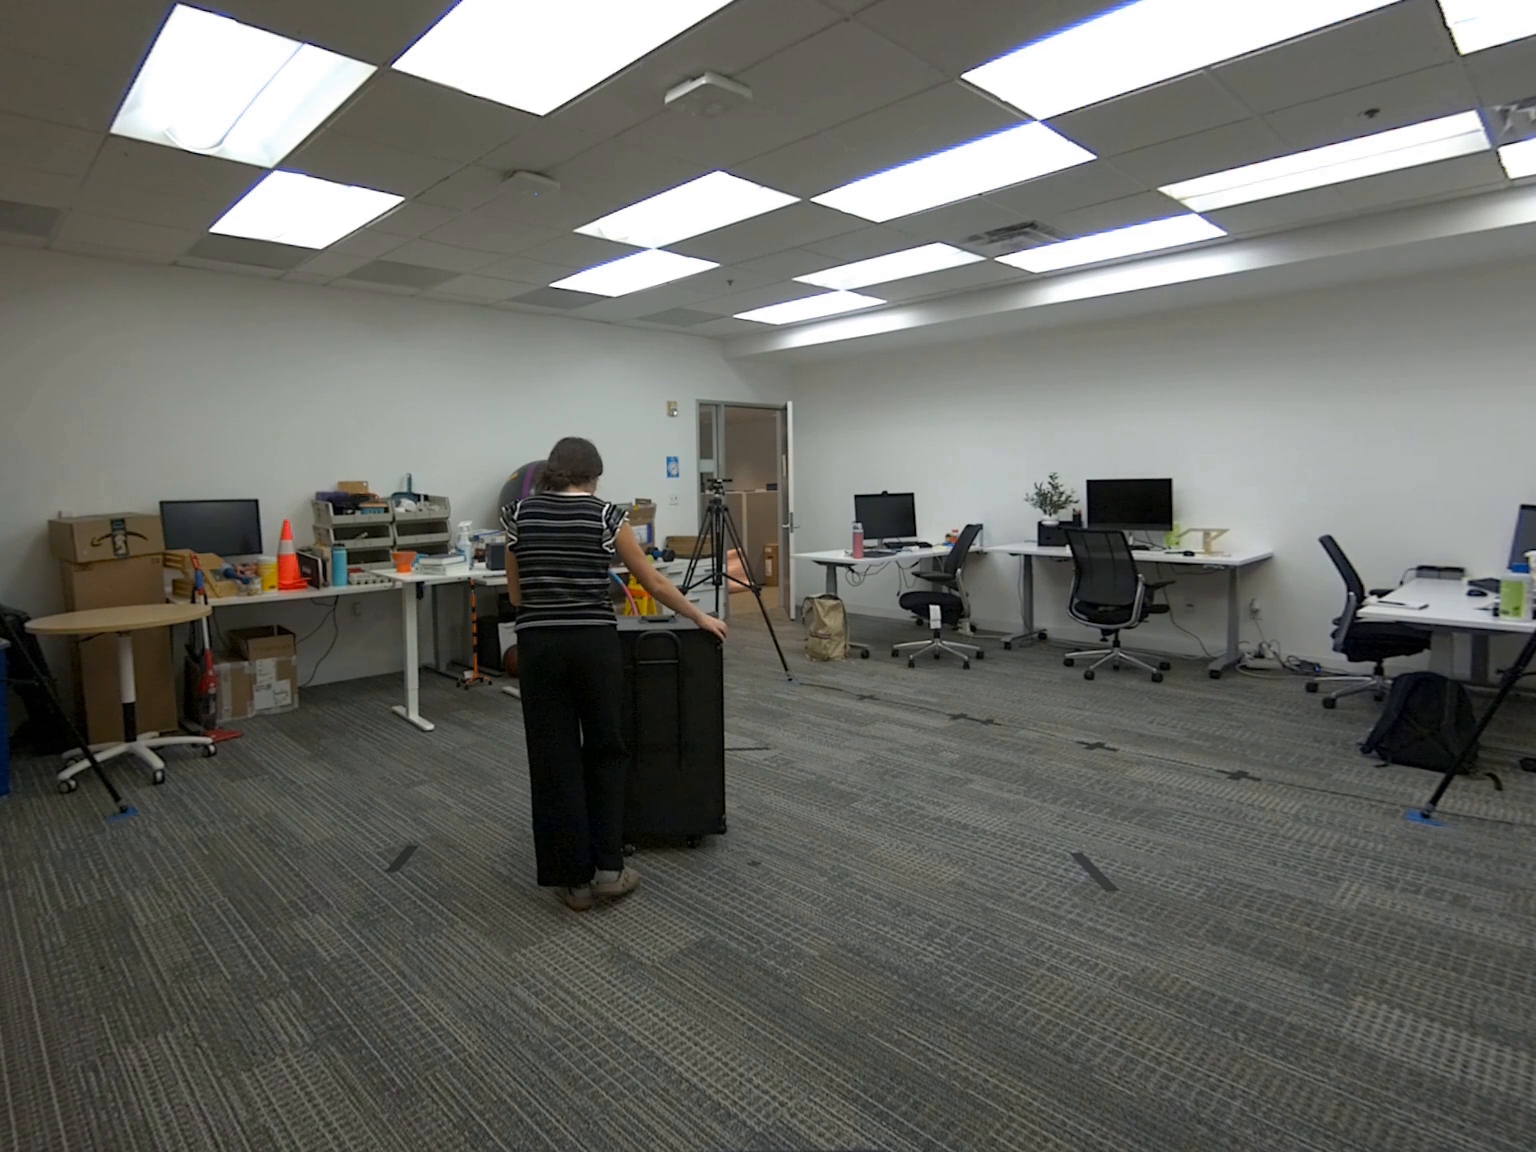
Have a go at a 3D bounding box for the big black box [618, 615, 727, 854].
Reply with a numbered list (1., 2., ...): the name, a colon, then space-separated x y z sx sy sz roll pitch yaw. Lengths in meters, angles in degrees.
1. big black box: -0.411 0.602 3.325 0.519 0.858 0.400 -1 5 -5
